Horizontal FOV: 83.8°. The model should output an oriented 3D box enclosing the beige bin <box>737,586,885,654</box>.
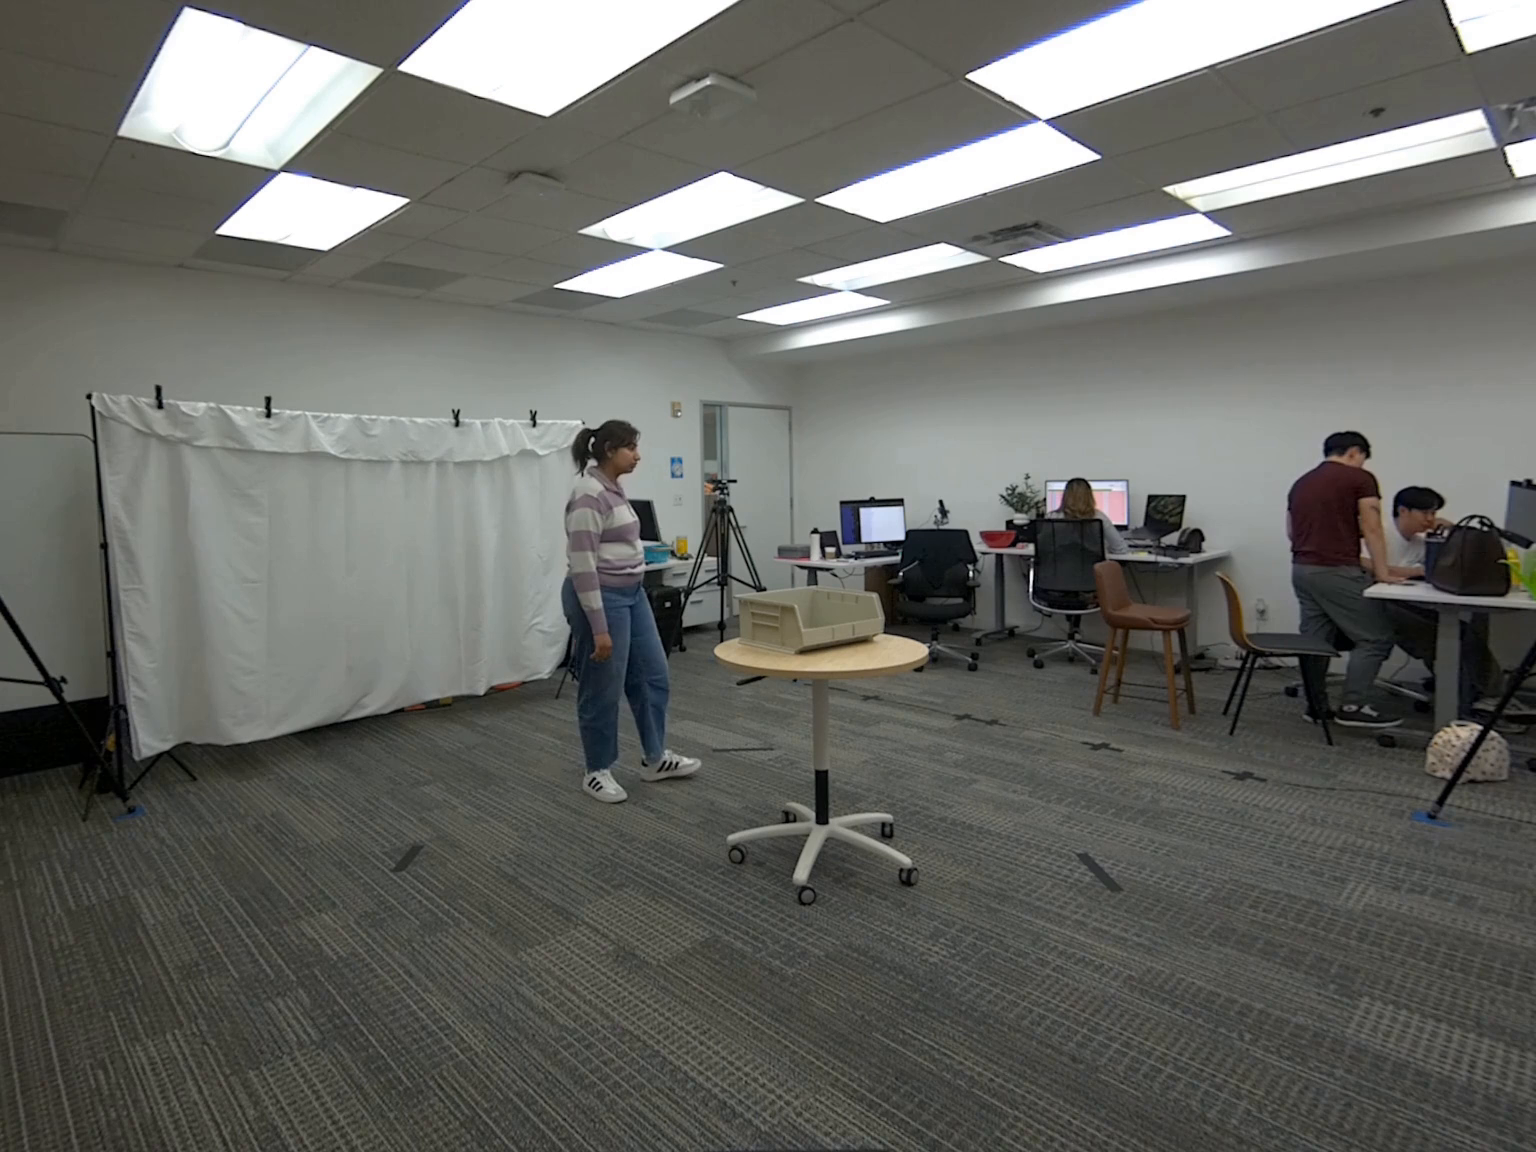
[{"bbox_3d":[0.156,0.162,3.207,0.411,0.188,0.388,-6,6,-38],"label":"beige bin"}]
